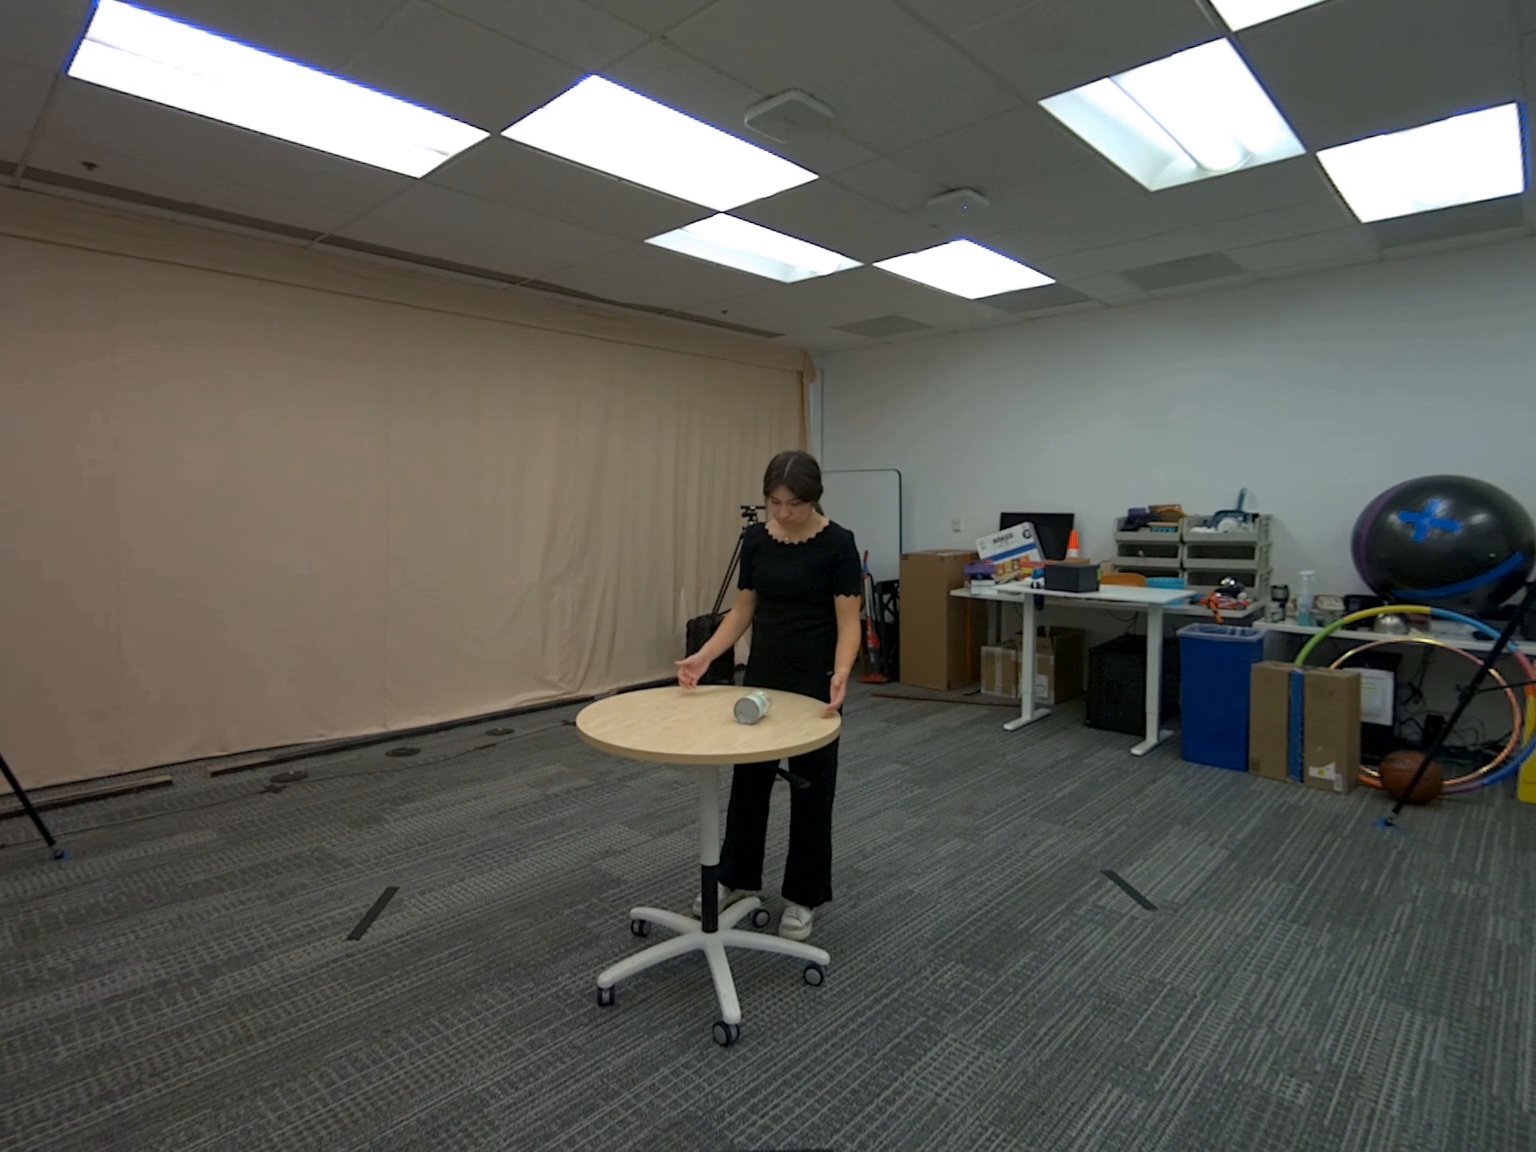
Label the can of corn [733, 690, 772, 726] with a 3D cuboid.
[{"bbox_3d":[-0.039,0.369,2.394,0.076,0.074,0.109,1,4,18],"label":"can of corn"}]
